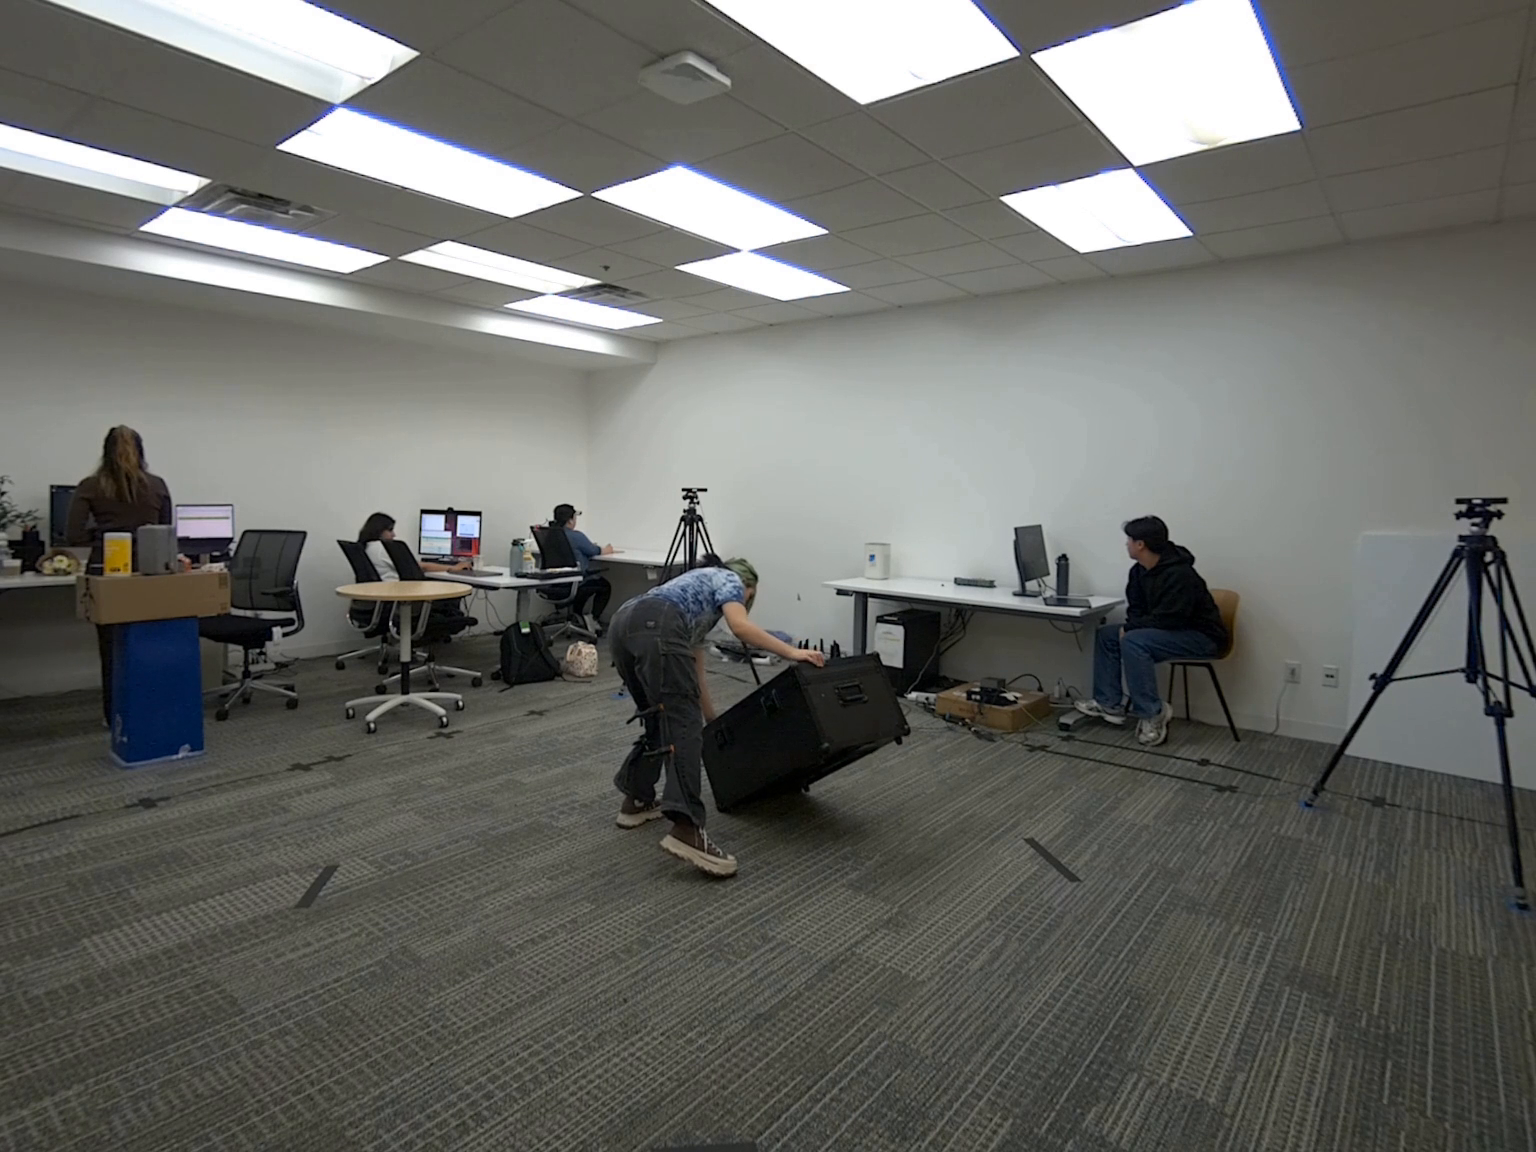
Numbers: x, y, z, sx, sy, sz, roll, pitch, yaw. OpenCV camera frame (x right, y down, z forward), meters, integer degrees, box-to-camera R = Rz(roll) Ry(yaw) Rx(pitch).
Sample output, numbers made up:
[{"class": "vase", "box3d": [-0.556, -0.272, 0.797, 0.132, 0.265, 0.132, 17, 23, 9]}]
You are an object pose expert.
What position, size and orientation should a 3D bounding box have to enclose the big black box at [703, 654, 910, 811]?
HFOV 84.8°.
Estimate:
[{"class": "big black box", "box3d": [0.123, 0.654, 3.586, 0.505, 0.407, 0.864, -1, -29, -39]}]
